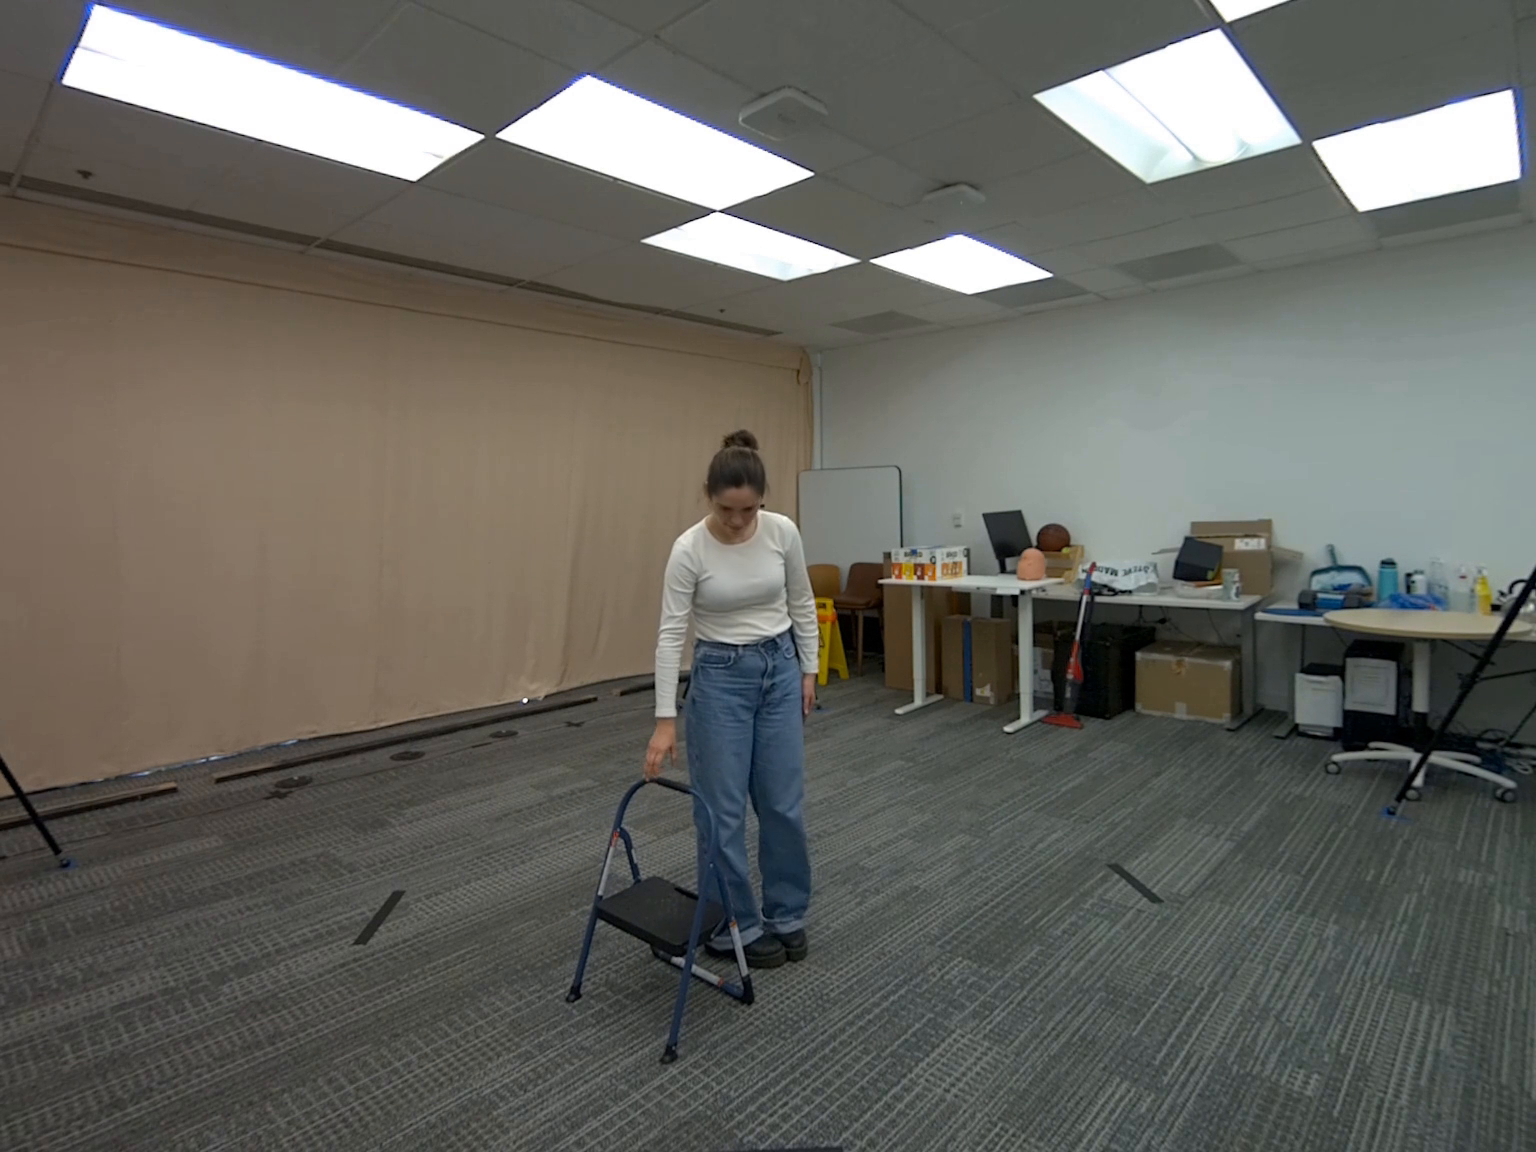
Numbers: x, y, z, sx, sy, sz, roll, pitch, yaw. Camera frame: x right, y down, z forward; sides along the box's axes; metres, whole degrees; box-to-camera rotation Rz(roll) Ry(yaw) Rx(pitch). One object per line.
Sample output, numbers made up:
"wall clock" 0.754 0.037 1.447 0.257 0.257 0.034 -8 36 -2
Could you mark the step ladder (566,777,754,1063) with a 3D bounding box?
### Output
"step ladder" -0.309 0.902 2.351 0.445 0.604 0.339 3 6 43
